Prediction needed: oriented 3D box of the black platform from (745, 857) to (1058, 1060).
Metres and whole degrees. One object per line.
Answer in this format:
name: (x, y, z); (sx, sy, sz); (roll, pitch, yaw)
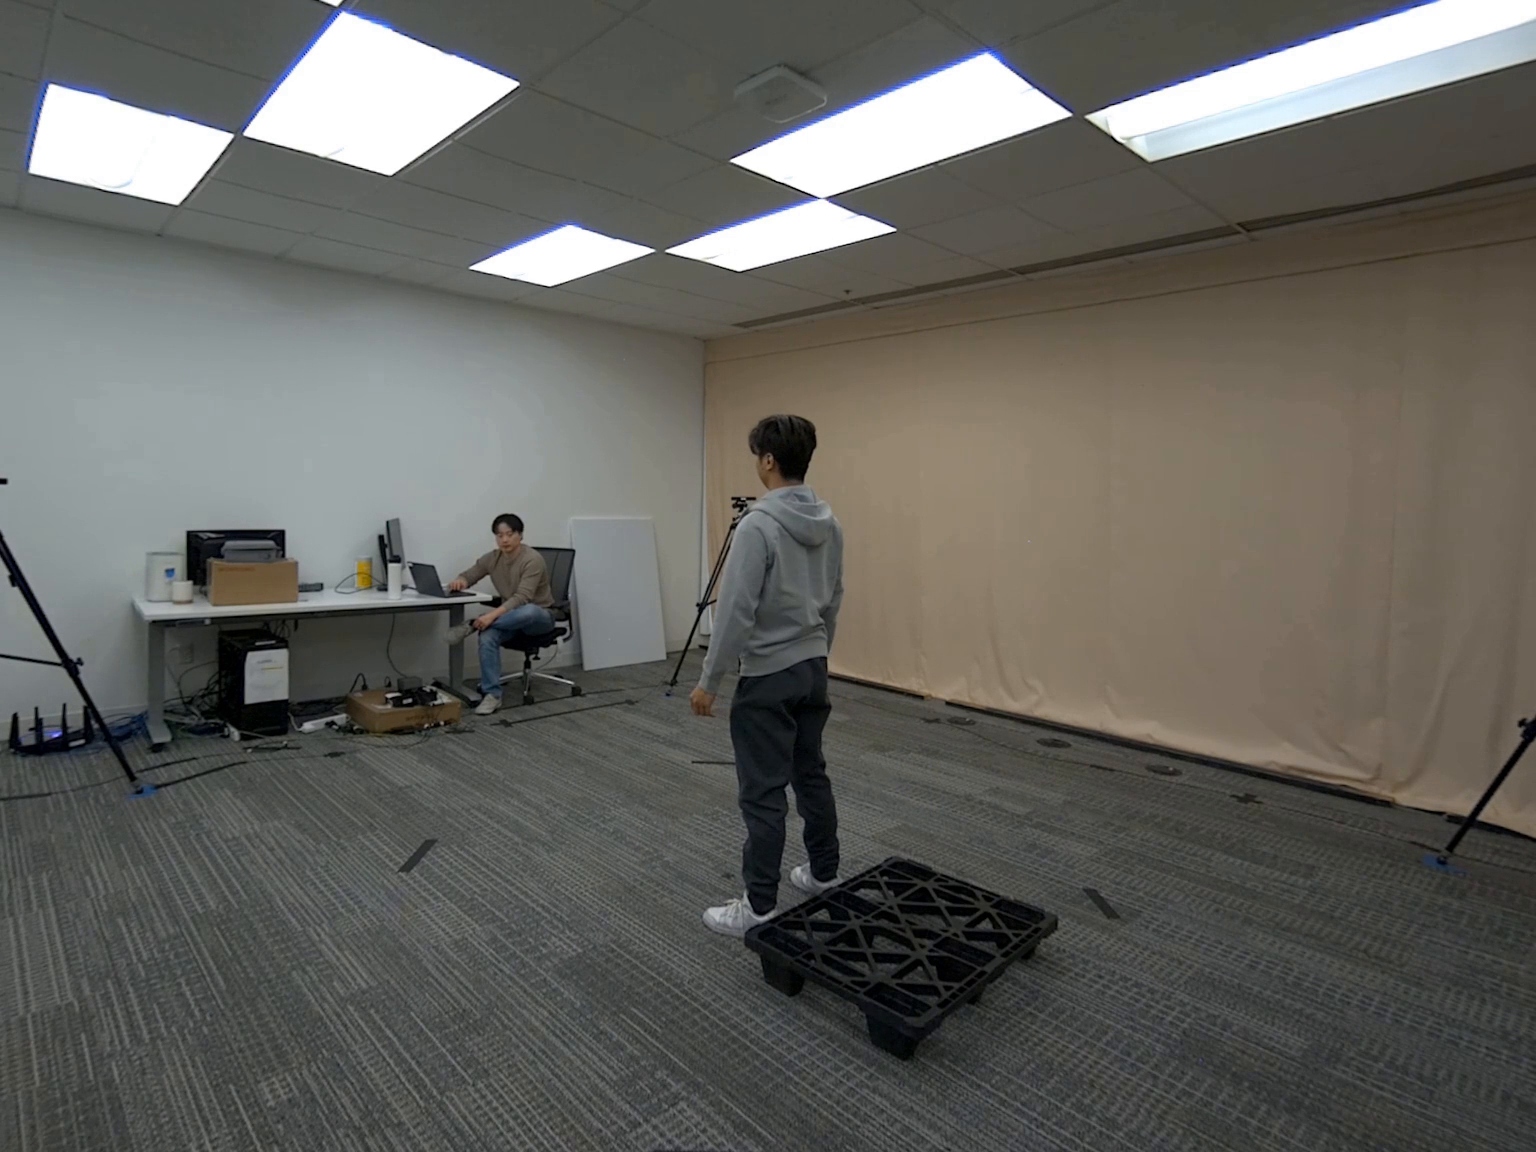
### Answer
black platform: (0.396, 1.104, 2.521); (0.621, 0.143, 0.787); (6, 7, 43)
